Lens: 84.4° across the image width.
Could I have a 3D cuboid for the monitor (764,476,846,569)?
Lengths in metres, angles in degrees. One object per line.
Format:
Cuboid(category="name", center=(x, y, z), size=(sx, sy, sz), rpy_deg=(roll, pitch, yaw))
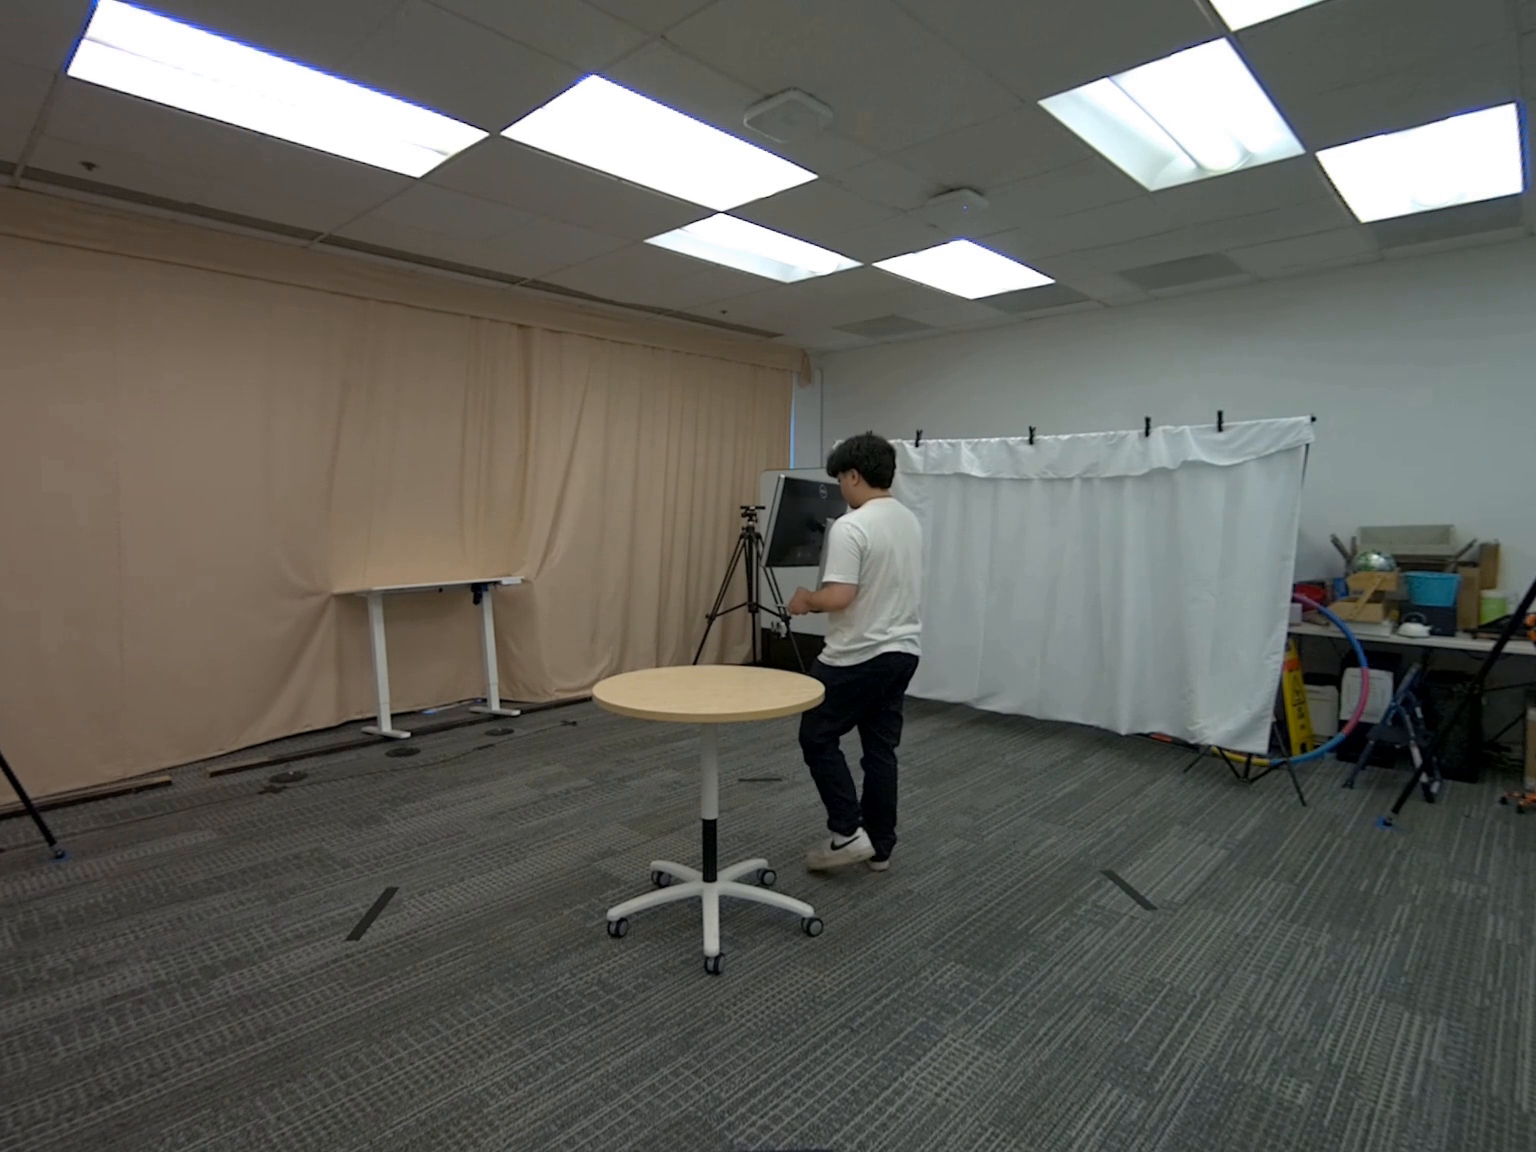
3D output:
Cuboid(category="monitor", center=(0.217, -0.113, 3.409), size=(0.217, 0.553, 0.548), rpy_deg=(10, 6, 35))
